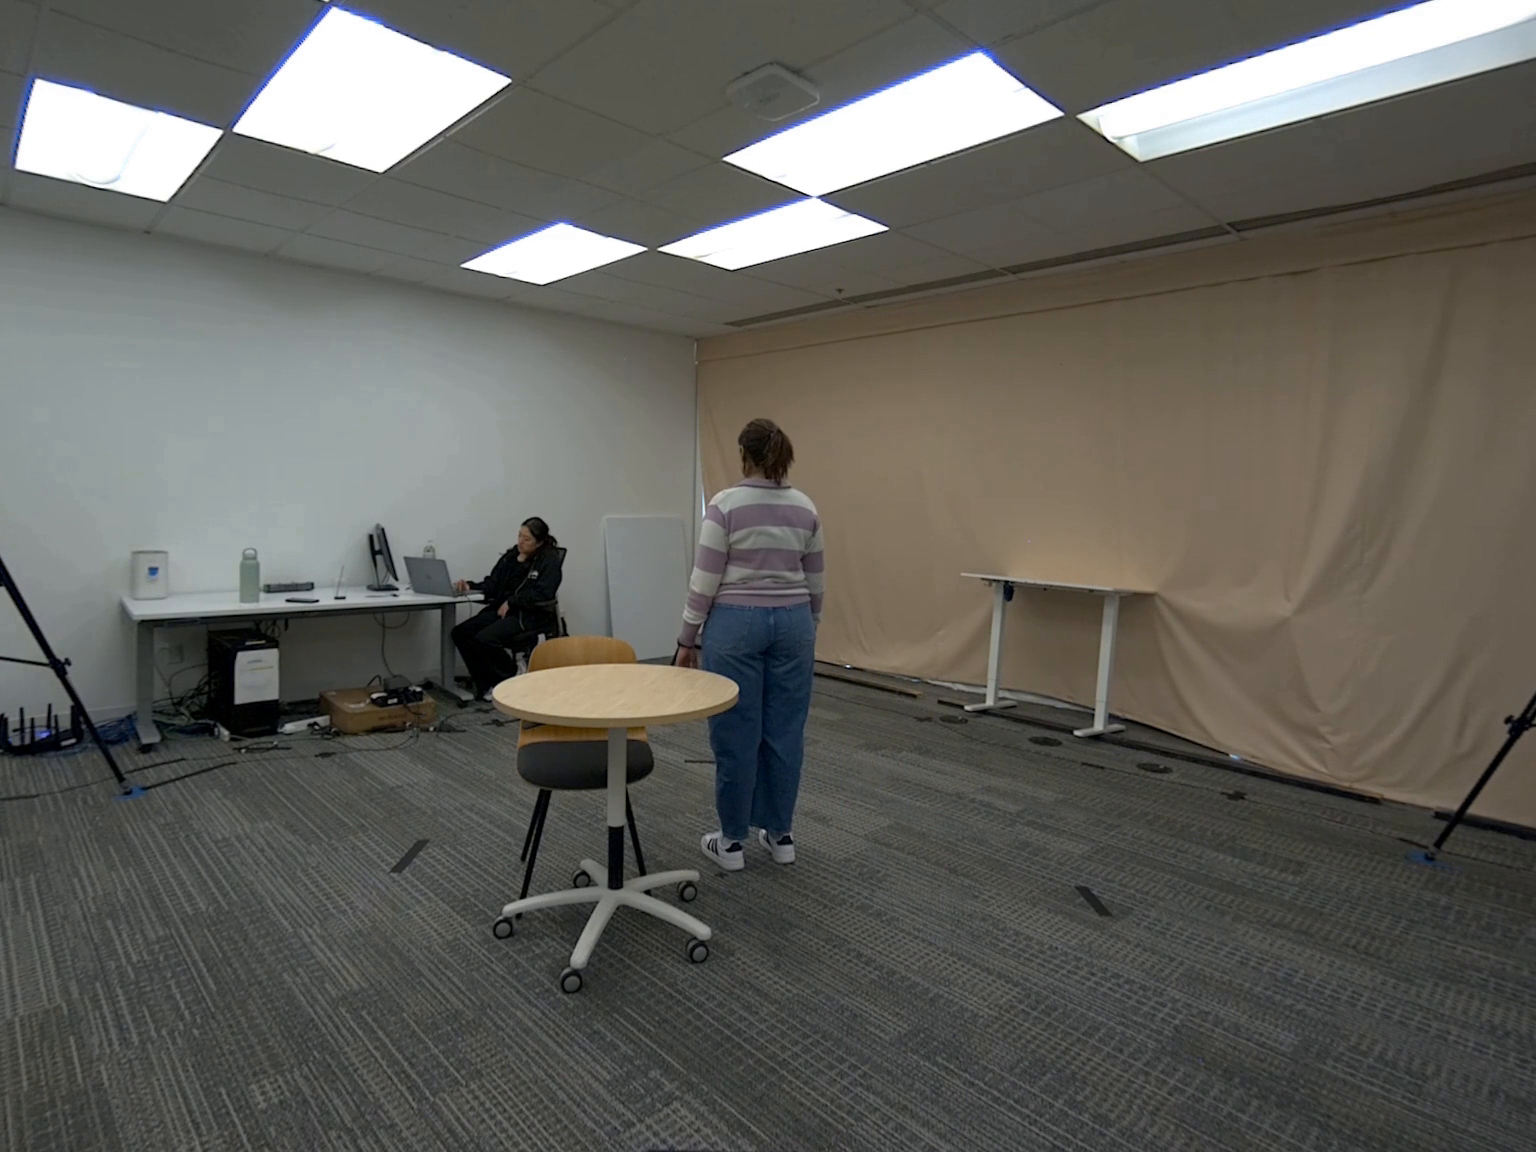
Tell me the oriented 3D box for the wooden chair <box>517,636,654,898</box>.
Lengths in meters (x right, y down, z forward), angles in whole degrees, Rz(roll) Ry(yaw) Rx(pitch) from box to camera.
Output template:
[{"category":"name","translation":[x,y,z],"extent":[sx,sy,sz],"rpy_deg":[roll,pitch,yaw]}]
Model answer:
[{"category":"wooden chair","translation":[-0.652,0.678,2.970],"extent":[0.473,0.878,0.528],"rpy_deg":[1,0,-14]}]
